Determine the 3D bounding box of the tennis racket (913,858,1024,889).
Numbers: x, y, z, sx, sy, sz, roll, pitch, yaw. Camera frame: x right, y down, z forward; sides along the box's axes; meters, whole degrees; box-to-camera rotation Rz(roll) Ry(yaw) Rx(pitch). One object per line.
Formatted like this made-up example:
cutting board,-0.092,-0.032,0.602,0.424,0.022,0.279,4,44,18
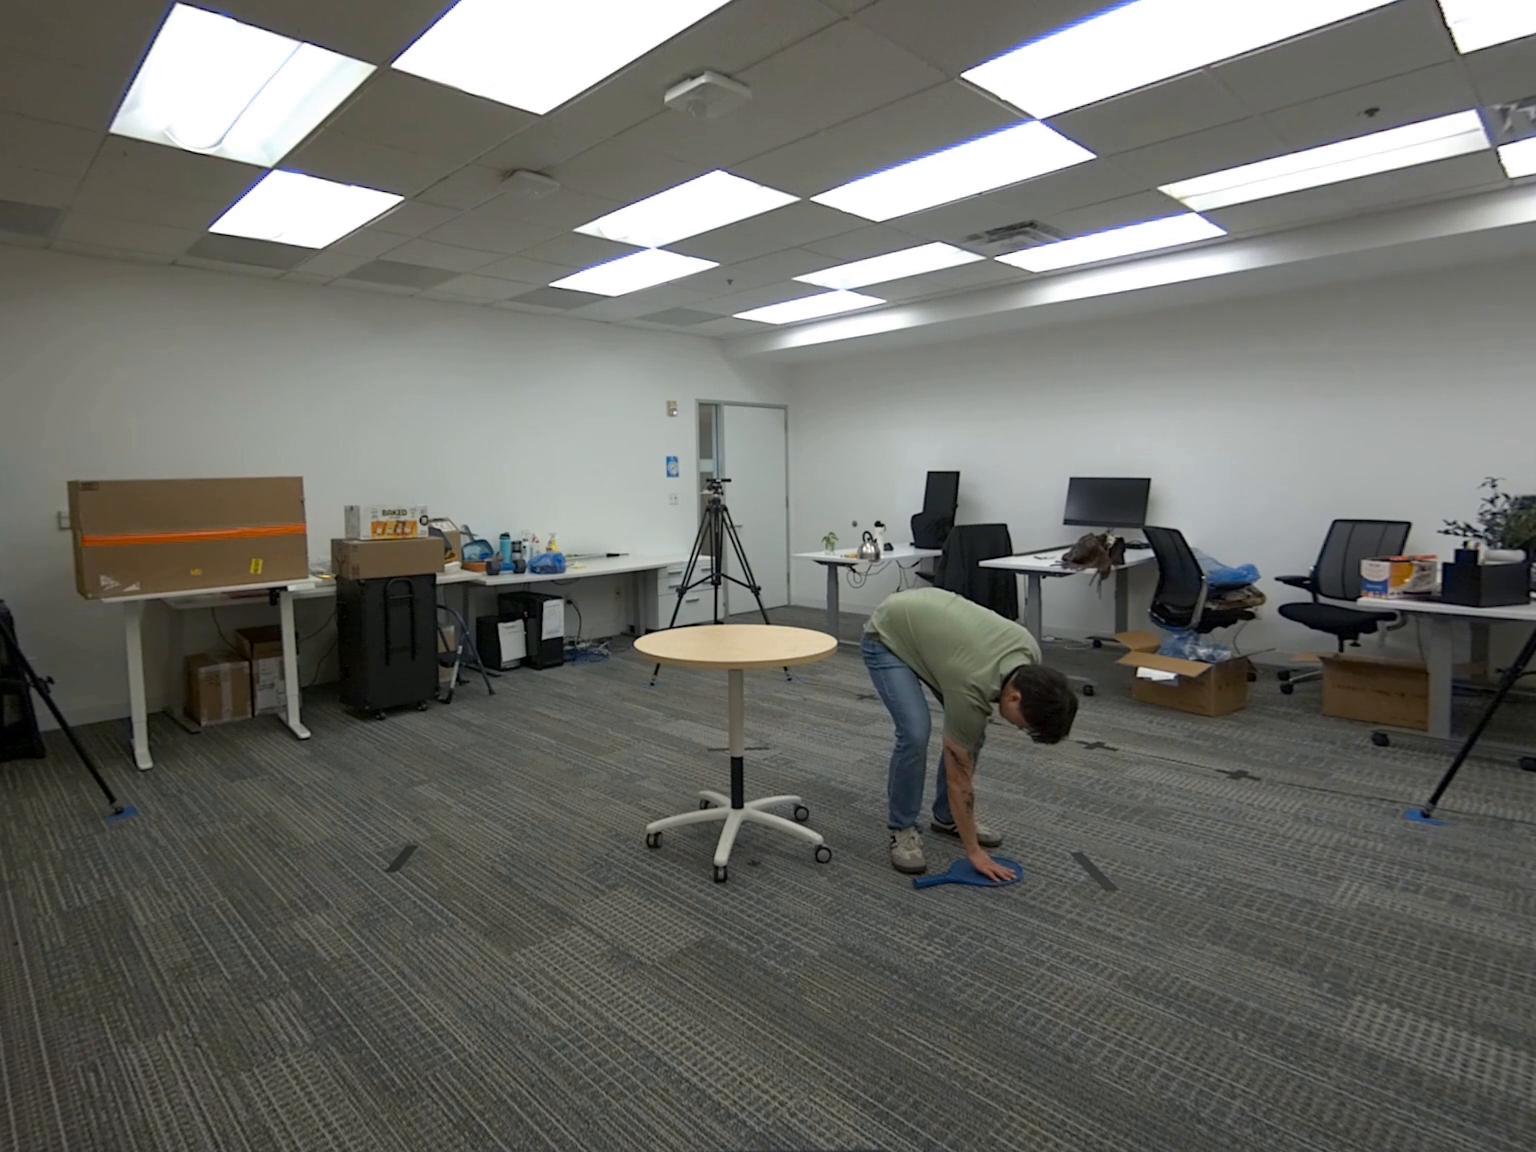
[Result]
tennis racket,0.694,1.040,2.974,0.423,0.031,0.219,0,5,-25
